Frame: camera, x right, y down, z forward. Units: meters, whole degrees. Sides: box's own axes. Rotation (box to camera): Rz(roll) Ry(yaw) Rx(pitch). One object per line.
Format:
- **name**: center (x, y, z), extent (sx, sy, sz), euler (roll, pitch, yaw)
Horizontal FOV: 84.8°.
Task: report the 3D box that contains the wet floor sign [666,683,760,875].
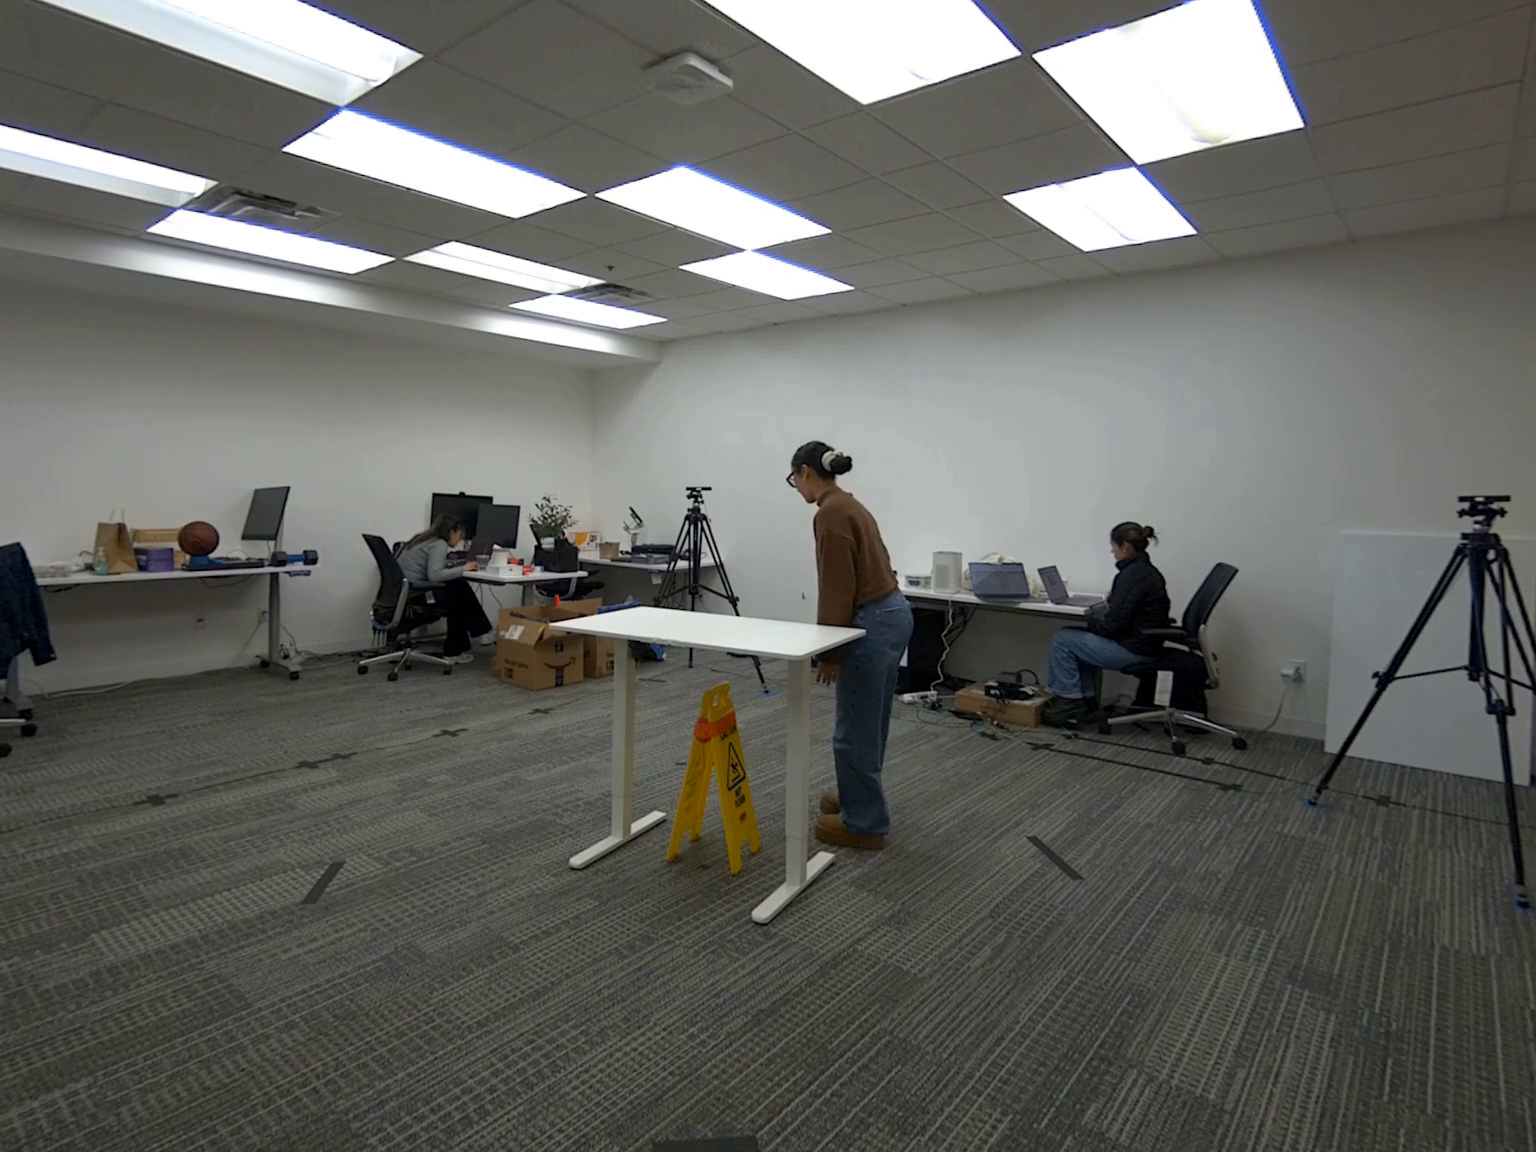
- **wet floor sign**: center (-0.210, 0.731, 3.219), extent (0.296, 0.645, 0.276), euler (1, 1, 21)
